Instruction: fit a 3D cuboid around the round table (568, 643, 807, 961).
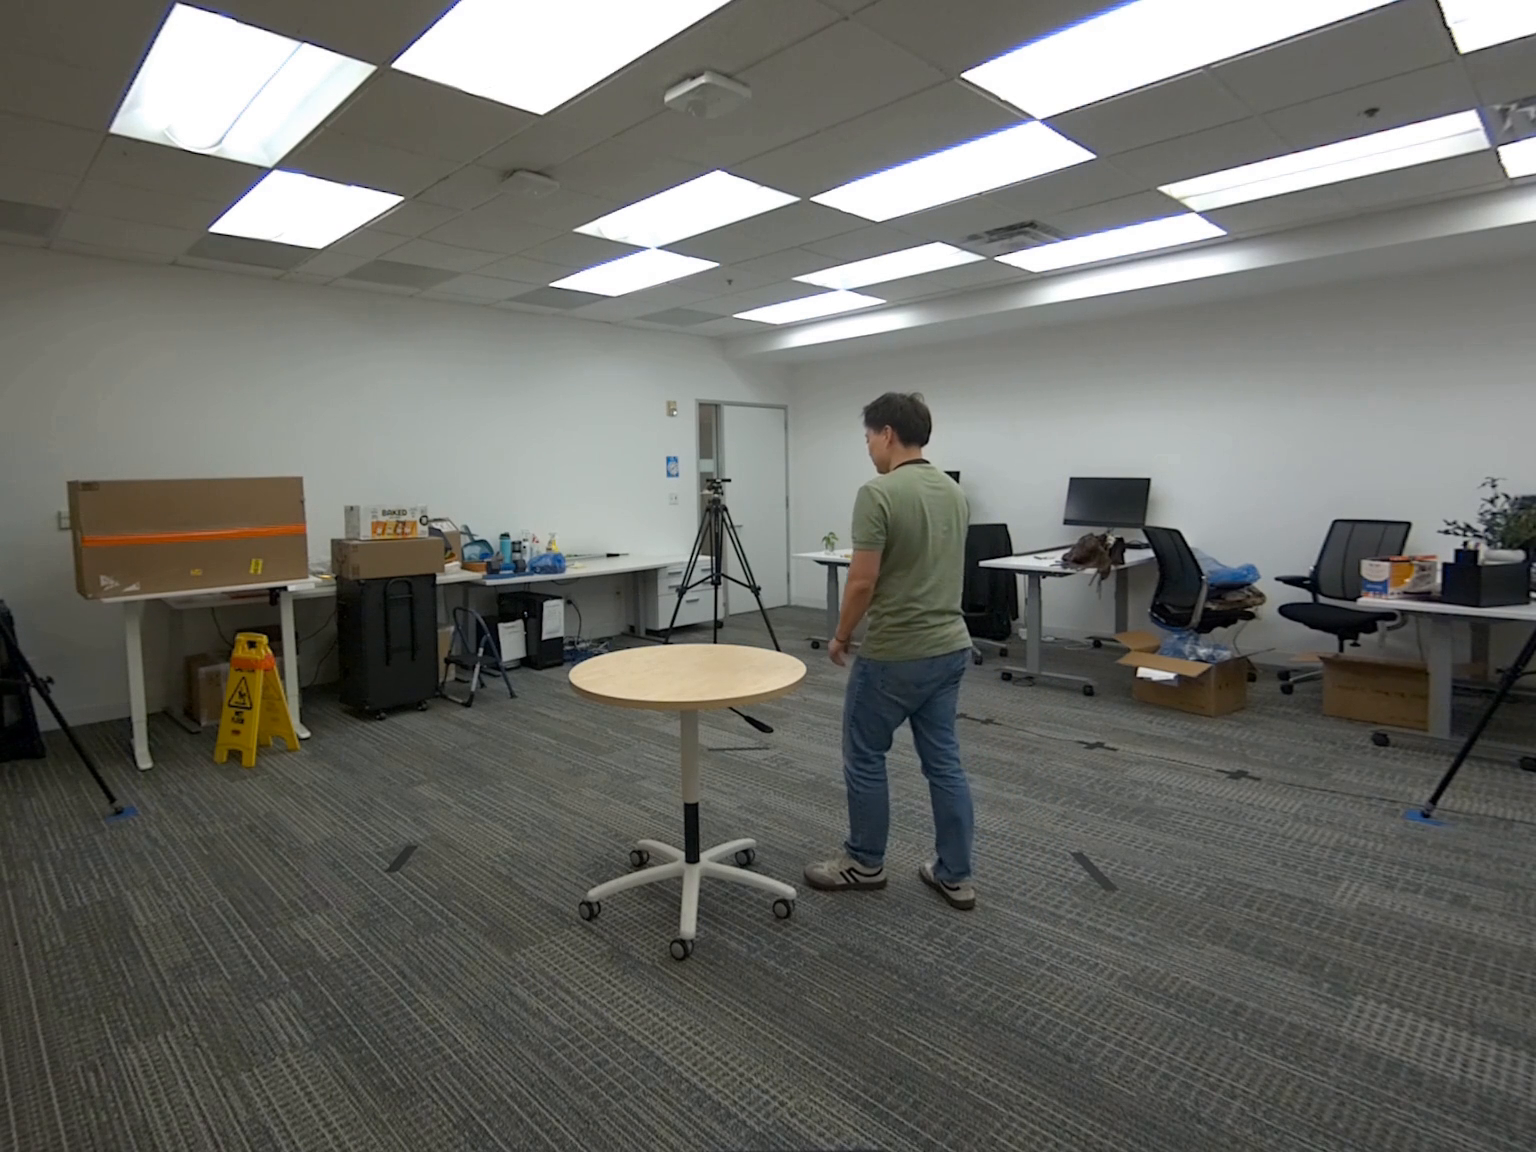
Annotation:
[{"bbox_3d":[-0.248,0.693,2.805,0.763,0.790,0.768,-1,6,-2],"label":"round table"}]
